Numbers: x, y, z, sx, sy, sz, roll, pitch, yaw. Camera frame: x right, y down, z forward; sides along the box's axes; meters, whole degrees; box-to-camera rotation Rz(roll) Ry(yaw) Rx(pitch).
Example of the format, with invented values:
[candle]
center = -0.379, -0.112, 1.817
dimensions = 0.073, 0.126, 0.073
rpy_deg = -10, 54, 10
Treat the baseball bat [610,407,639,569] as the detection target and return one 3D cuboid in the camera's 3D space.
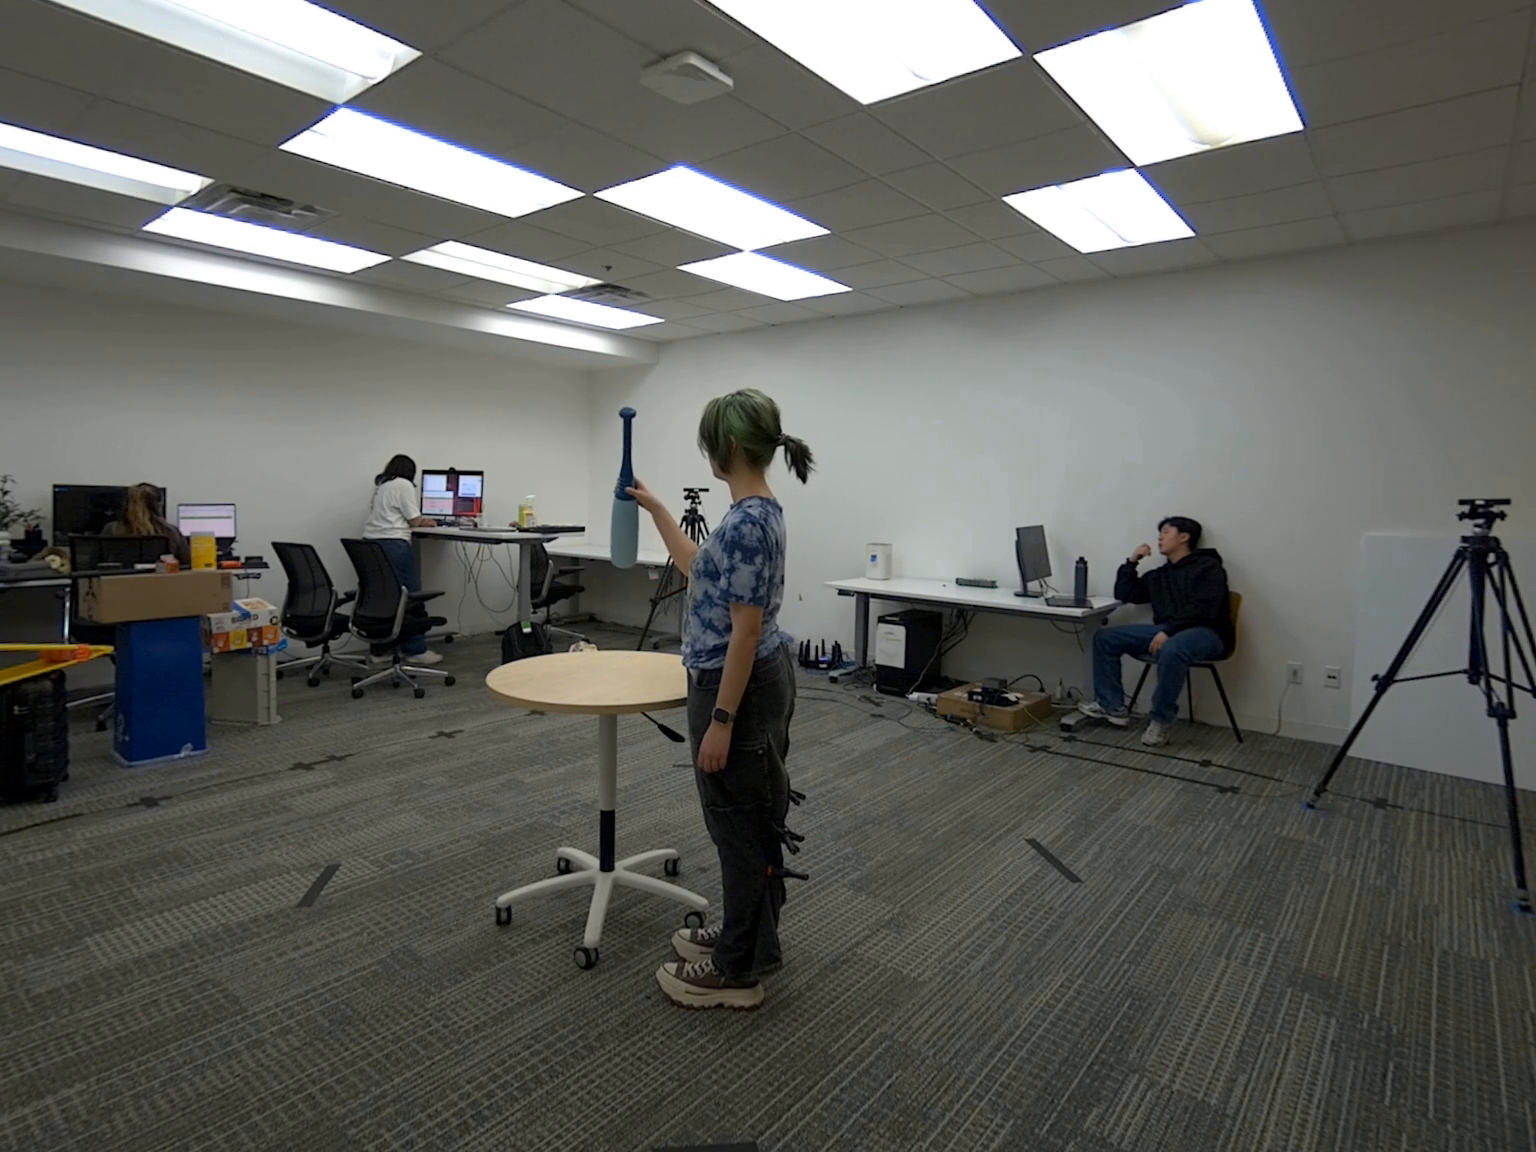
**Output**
[baseball bat]
center = -0.456, -0.264, 2.606
dimensions = 0.089, 0.530, 0.091
rpy_deg = 4, 33, -4
